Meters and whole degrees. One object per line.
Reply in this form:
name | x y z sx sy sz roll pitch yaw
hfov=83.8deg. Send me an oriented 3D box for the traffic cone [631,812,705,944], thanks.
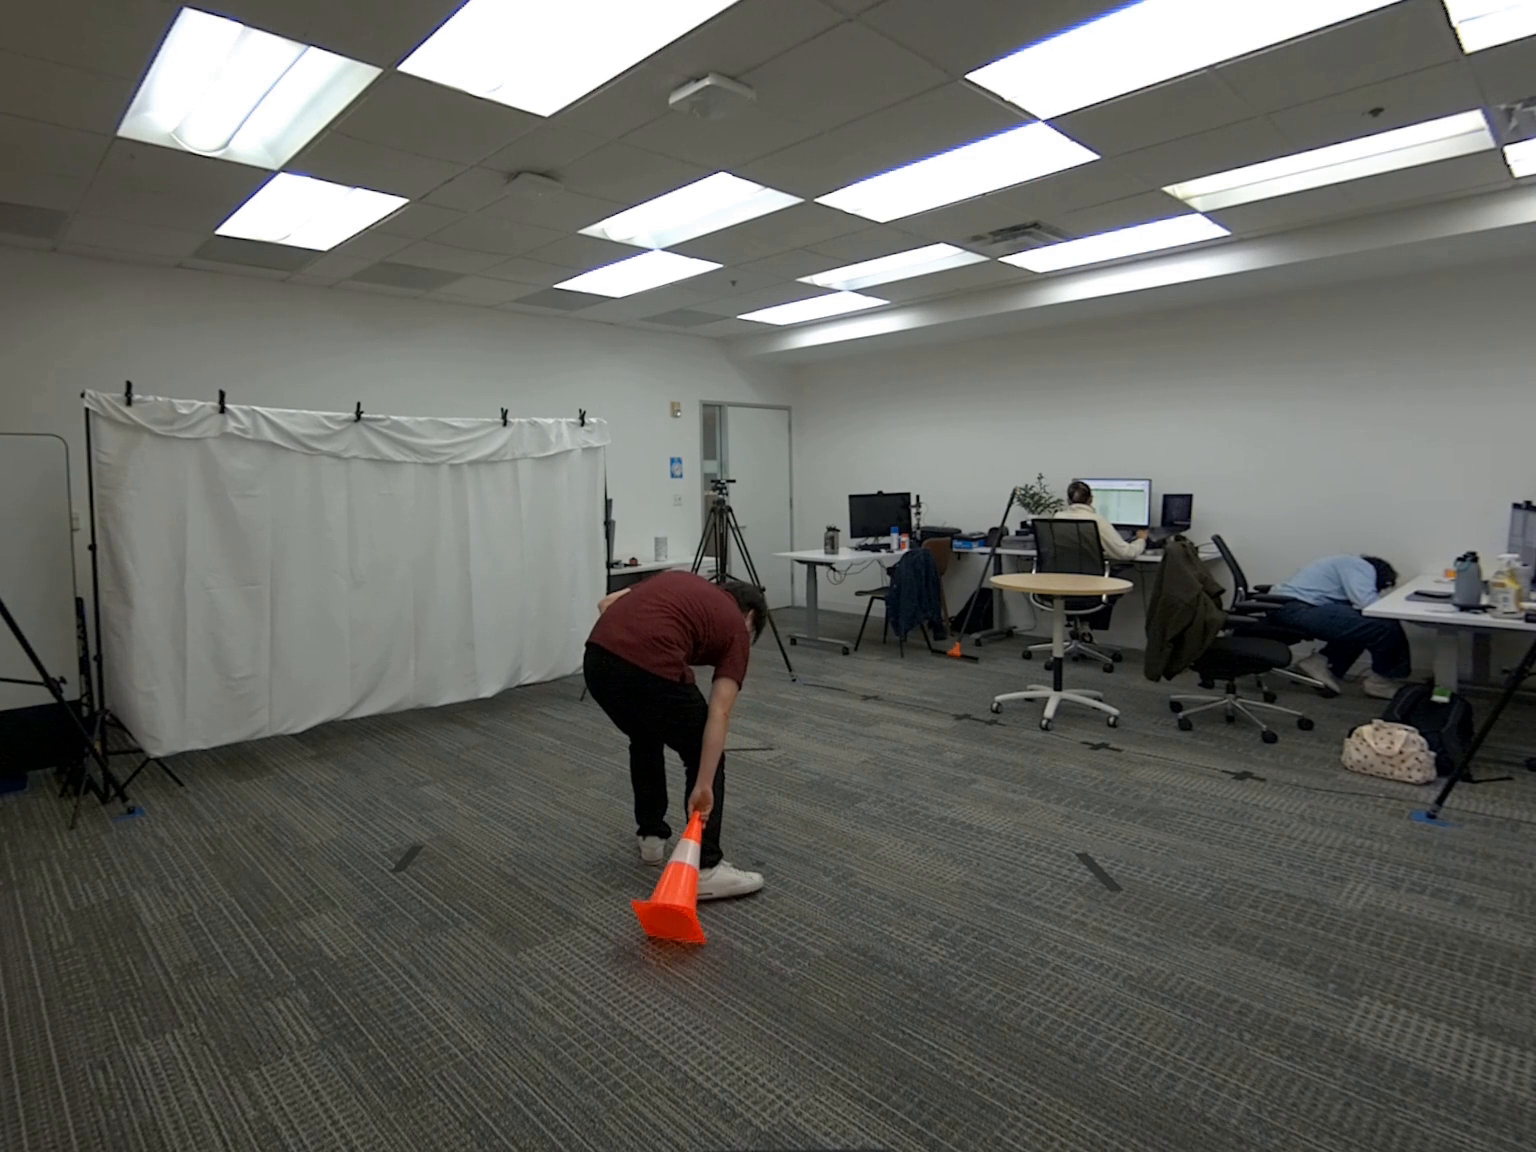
traffic cone | -0.257 0.915 2.700 0.208 0.197 0.390 -3 37 15
